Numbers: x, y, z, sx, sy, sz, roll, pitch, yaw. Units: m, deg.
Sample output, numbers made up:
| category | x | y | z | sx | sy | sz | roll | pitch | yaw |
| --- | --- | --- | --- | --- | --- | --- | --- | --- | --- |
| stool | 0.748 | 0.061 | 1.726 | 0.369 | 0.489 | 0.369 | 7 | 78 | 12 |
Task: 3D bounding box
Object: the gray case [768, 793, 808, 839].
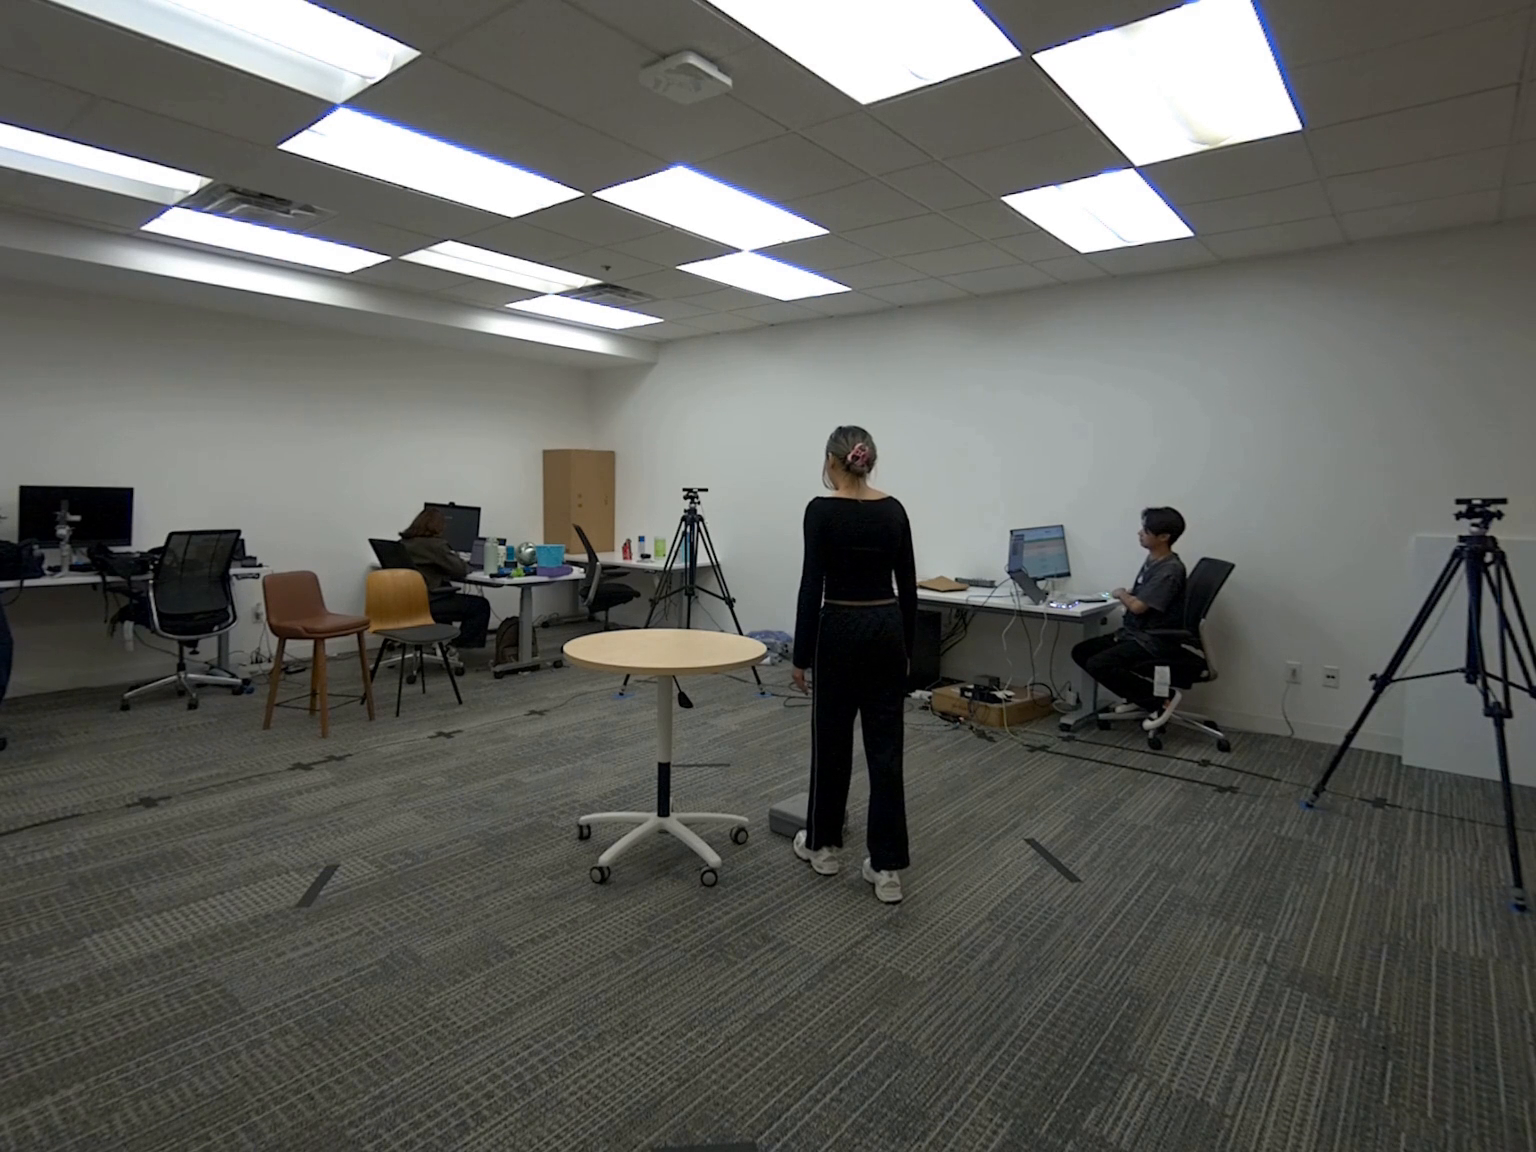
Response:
| category | x | y | z | sx | sy | sz | roll | pitch | yaw |
| --- | --- | --- | --- | --- | --- | --- | --- | --- | --- |
| gray case | 0.161 | 0.981 | 3.485 | 0.269 | 0.104 | 0.249 | 7 | 7 | 40 |
